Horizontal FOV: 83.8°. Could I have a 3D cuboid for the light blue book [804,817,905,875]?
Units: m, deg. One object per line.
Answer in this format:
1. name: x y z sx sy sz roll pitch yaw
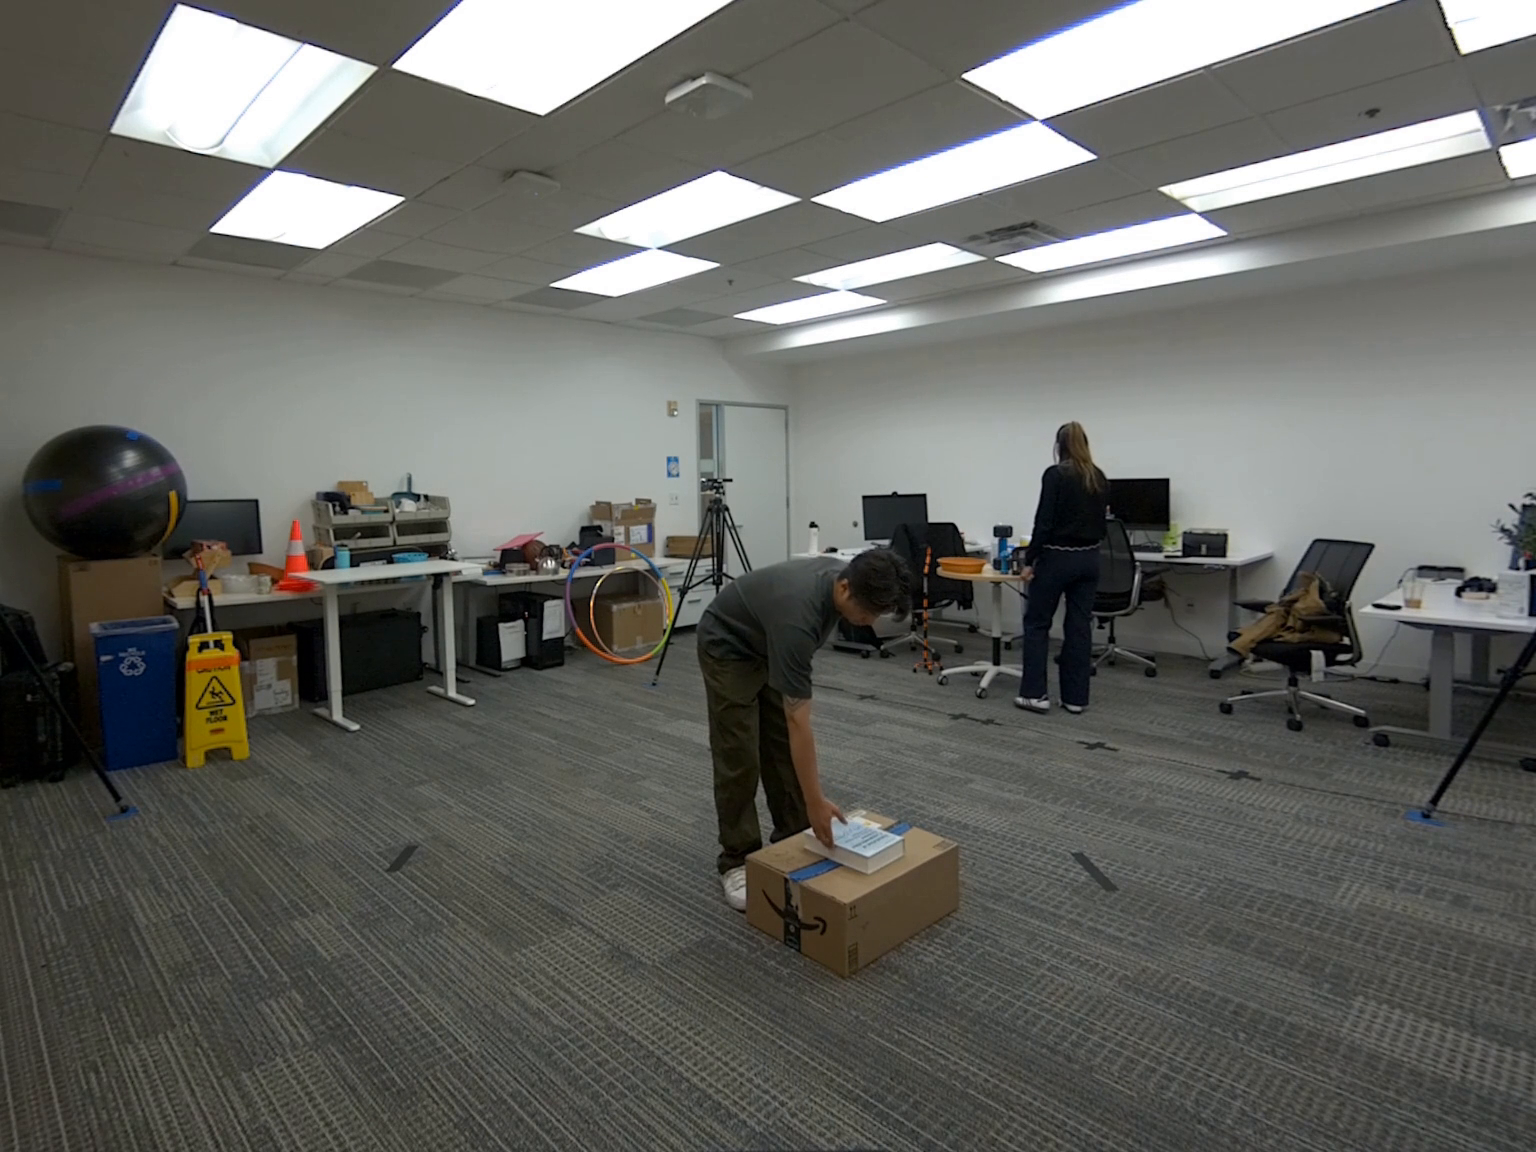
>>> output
1. light blue book: 0.275 0.844 2.705 0.186 0.059 0.269 -8 9 -44
